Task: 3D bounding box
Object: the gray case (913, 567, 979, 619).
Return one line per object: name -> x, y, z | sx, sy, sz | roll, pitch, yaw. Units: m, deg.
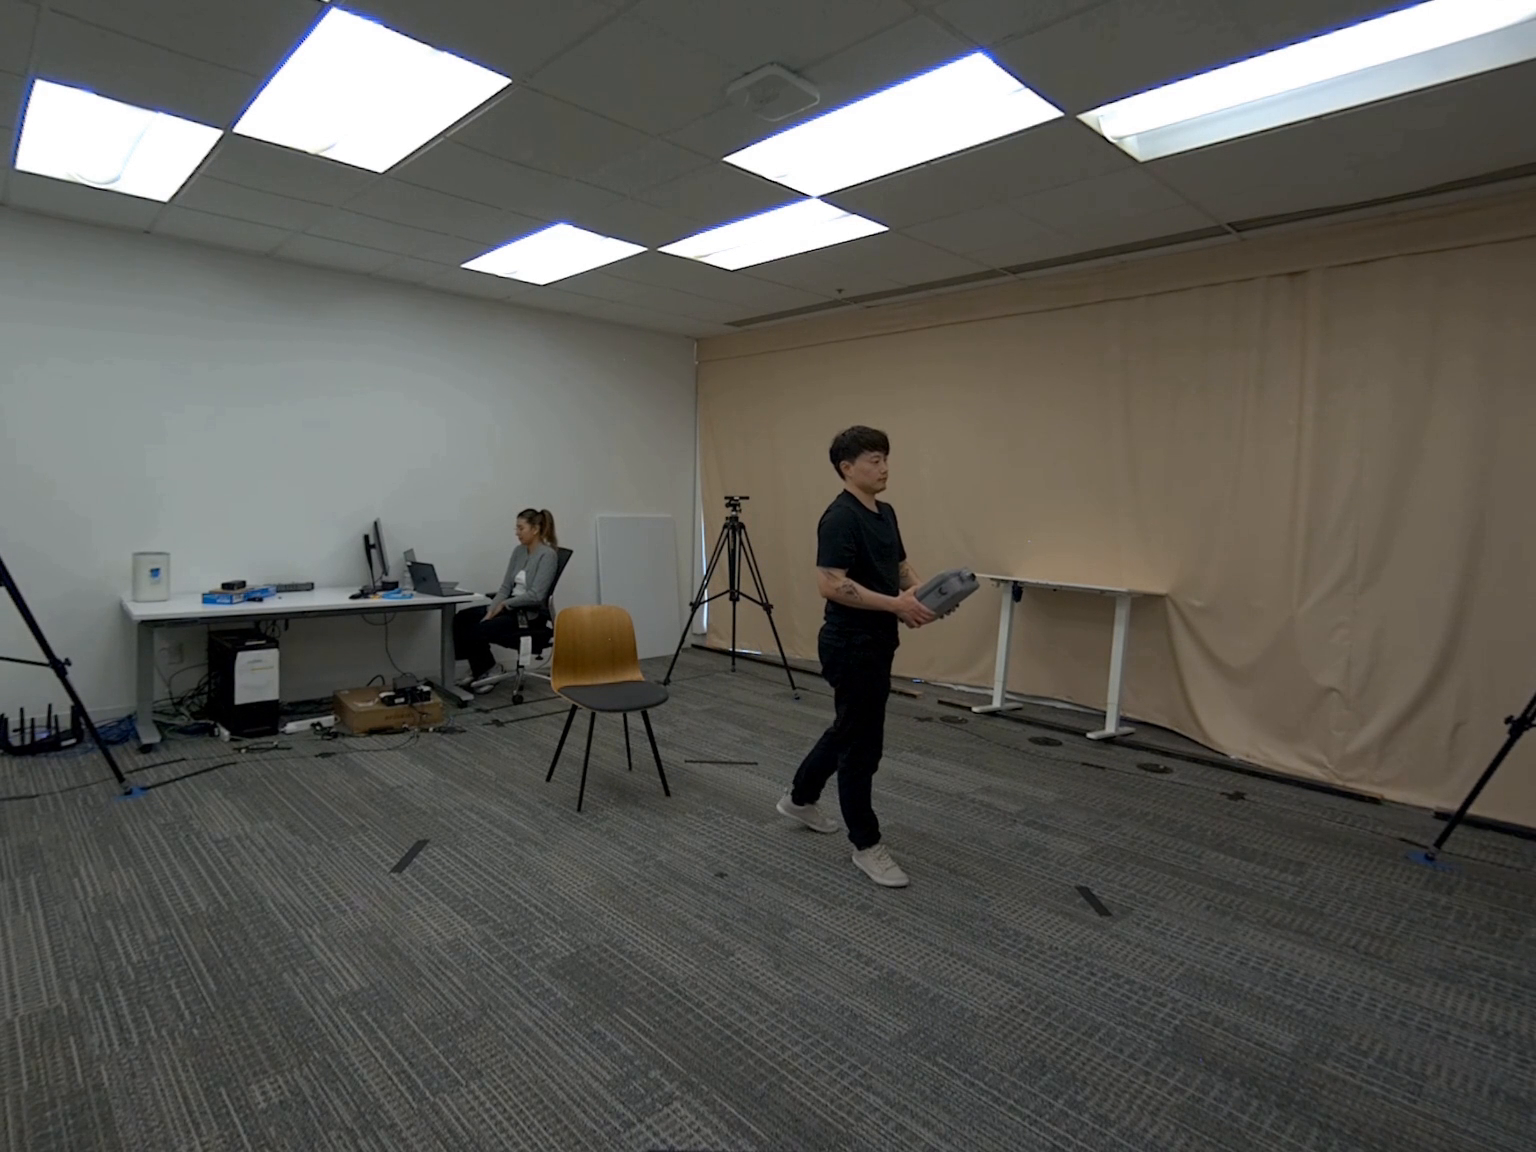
gray case -> 0.612, 0.068, 3.084 | 0.261, 0.106, 0.252 | -40, -17, 29
